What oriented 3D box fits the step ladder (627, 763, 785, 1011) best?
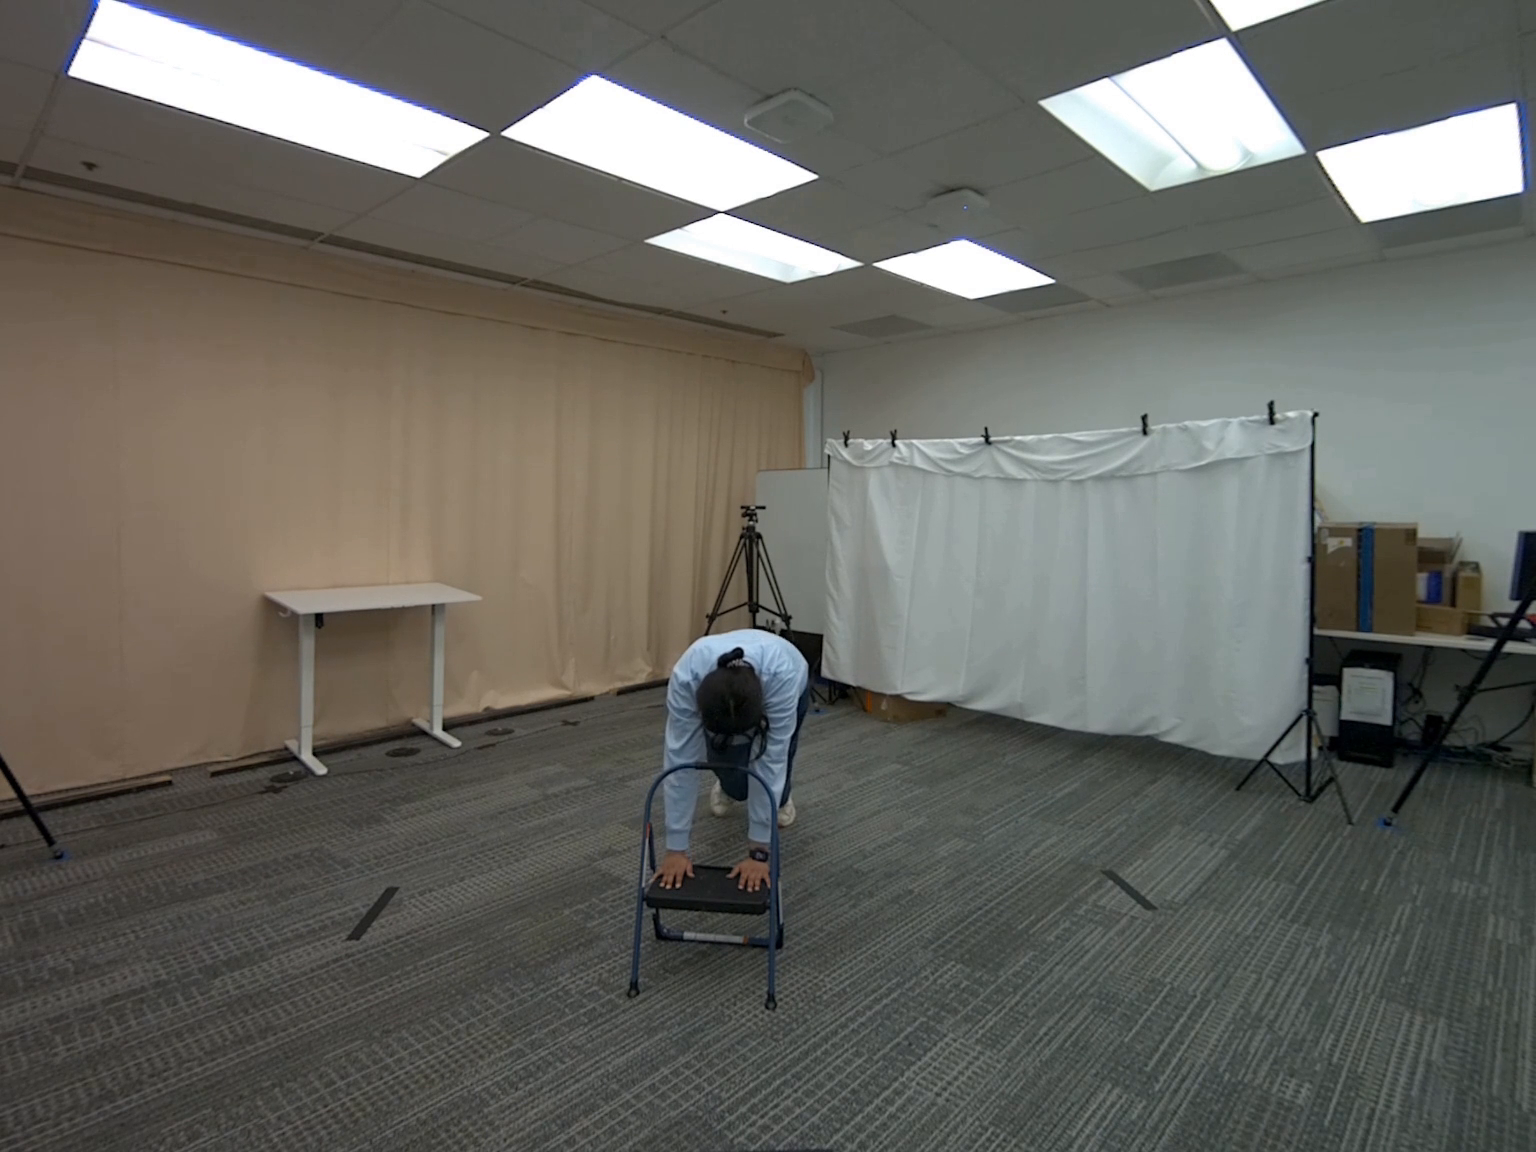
[{"bbox_3d":[-0.172,0.880,2.517,0.434,0.605,0.347,0,3,7],"label":"step ladder"}]
